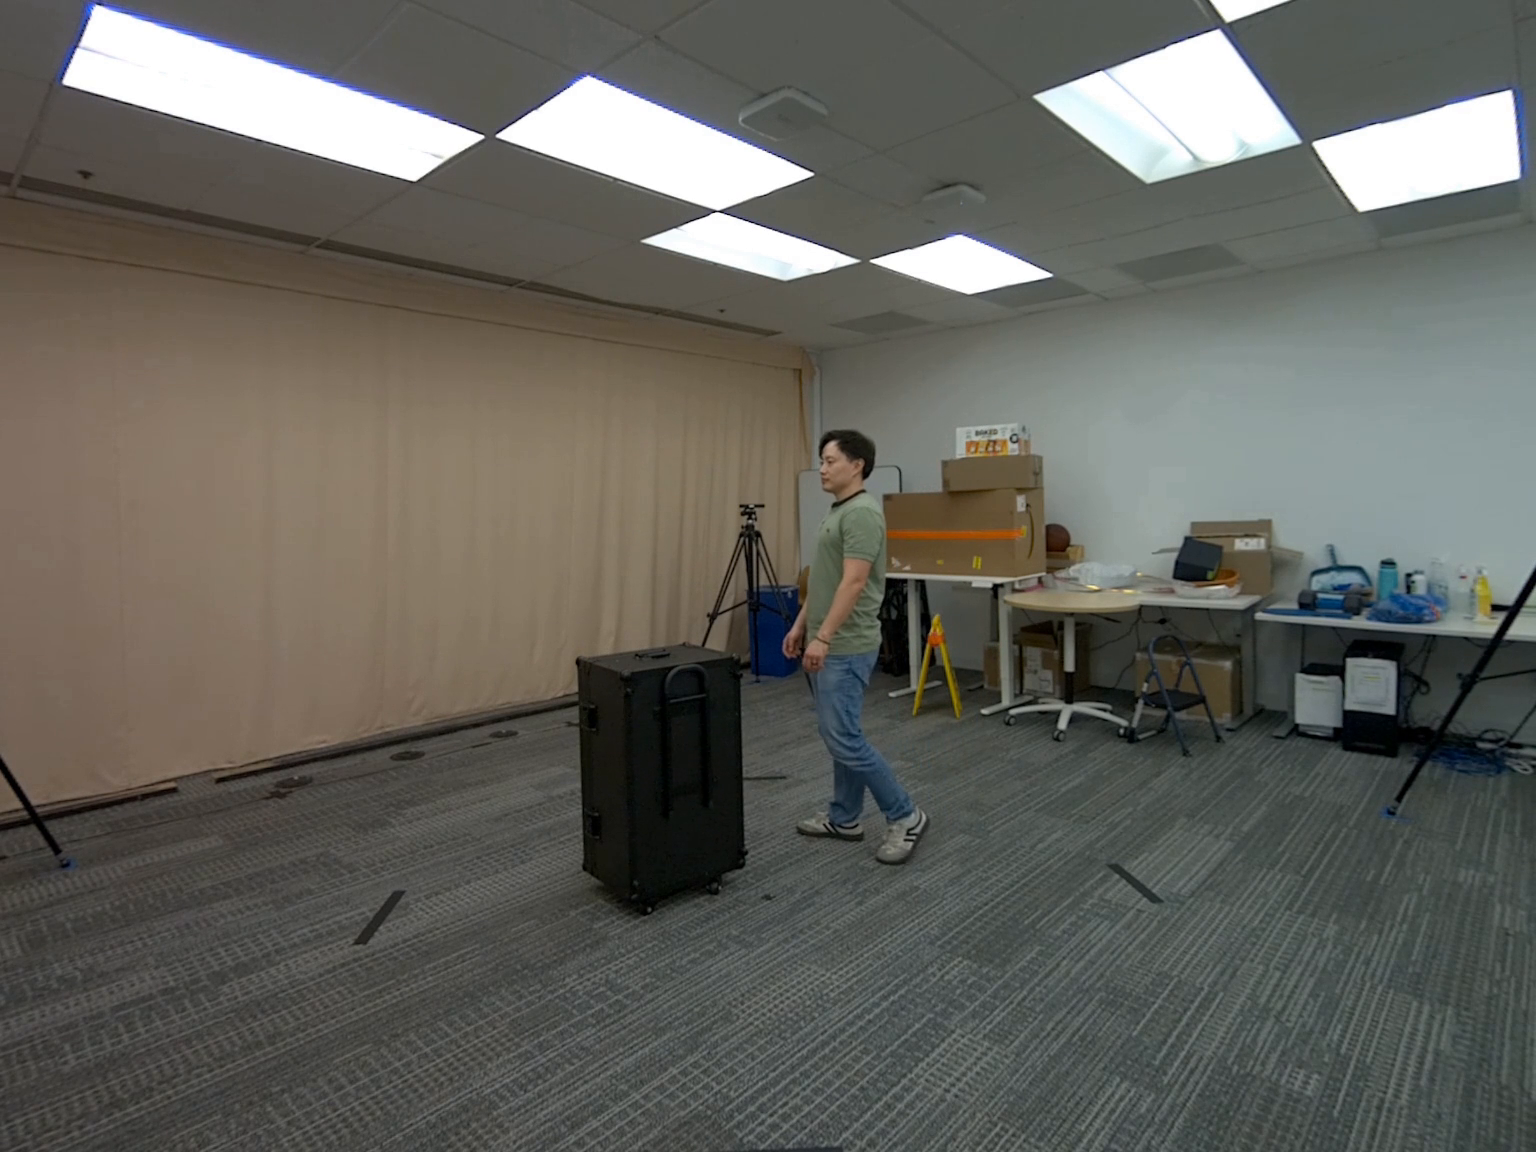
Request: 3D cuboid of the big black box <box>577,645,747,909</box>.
[{"bbox_3d":[-0.374,0.717,3.053,0.506,0.859,0.409,-3,4,-36],"label":"big black box"}]
